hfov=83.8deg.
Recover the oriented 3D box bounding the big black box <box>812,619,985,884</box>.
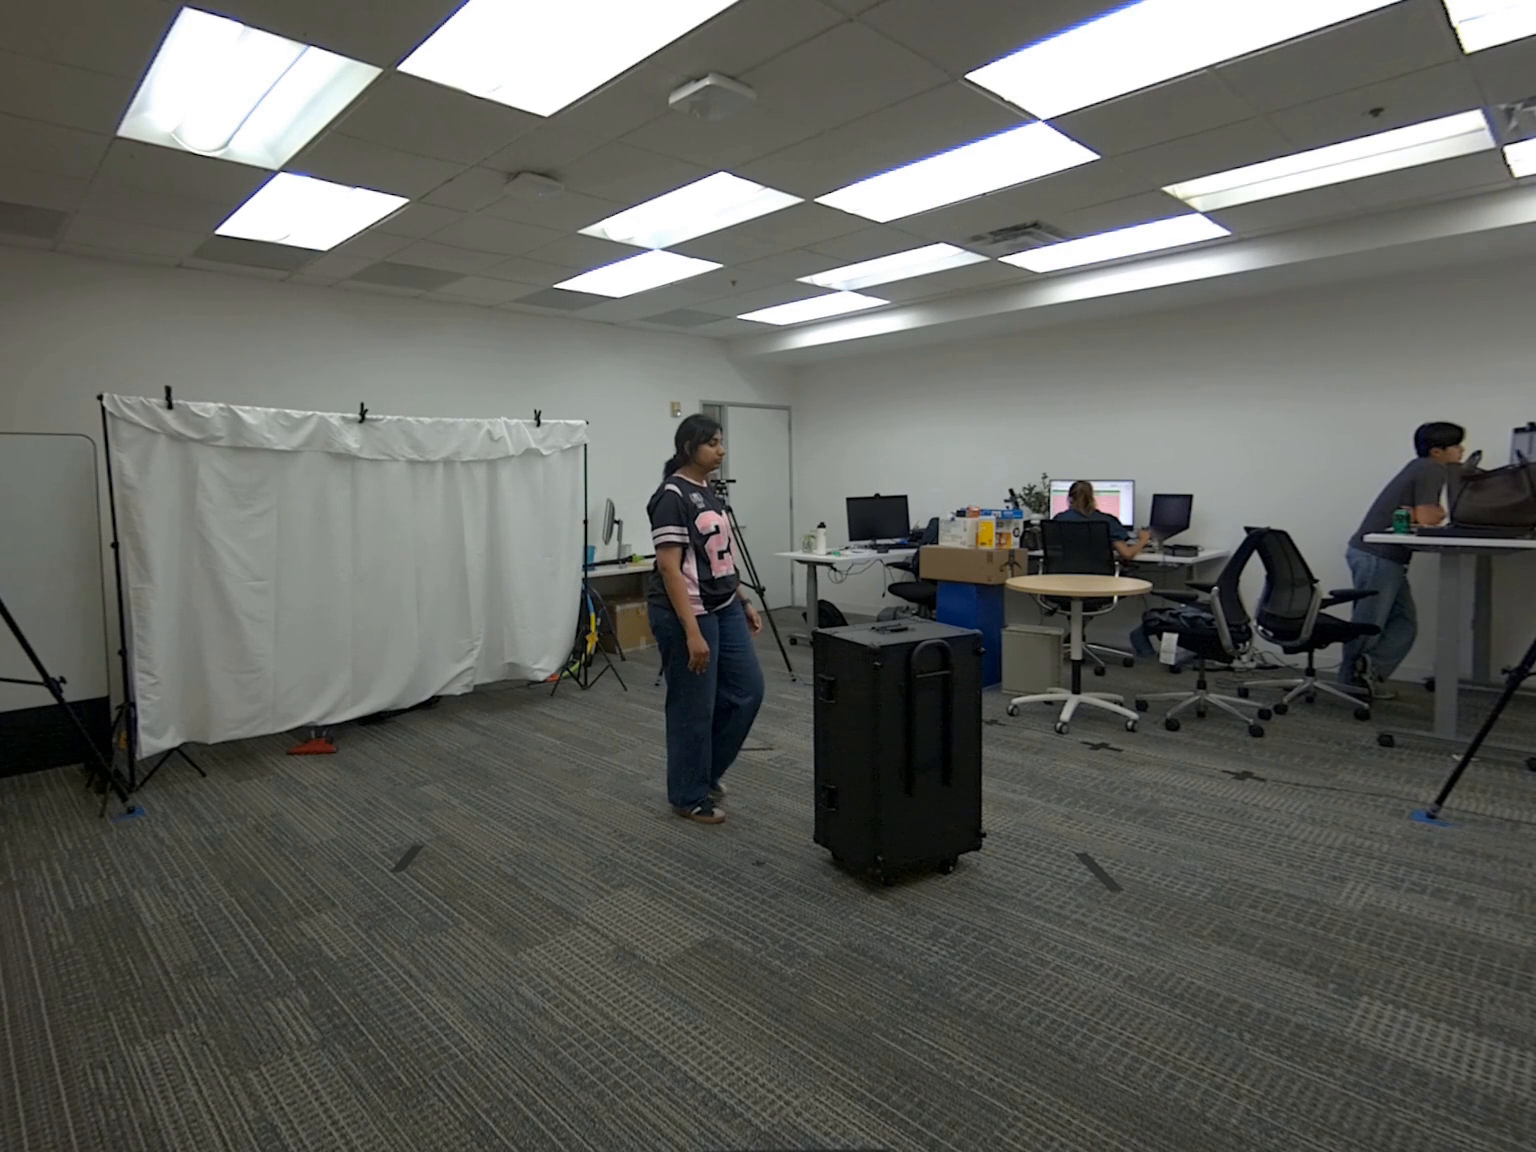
[{"bbox_3d":[0.470,0.620,3.057,0.511,0.865,0.396,-3,5,-29],"label":"big black box"}]
